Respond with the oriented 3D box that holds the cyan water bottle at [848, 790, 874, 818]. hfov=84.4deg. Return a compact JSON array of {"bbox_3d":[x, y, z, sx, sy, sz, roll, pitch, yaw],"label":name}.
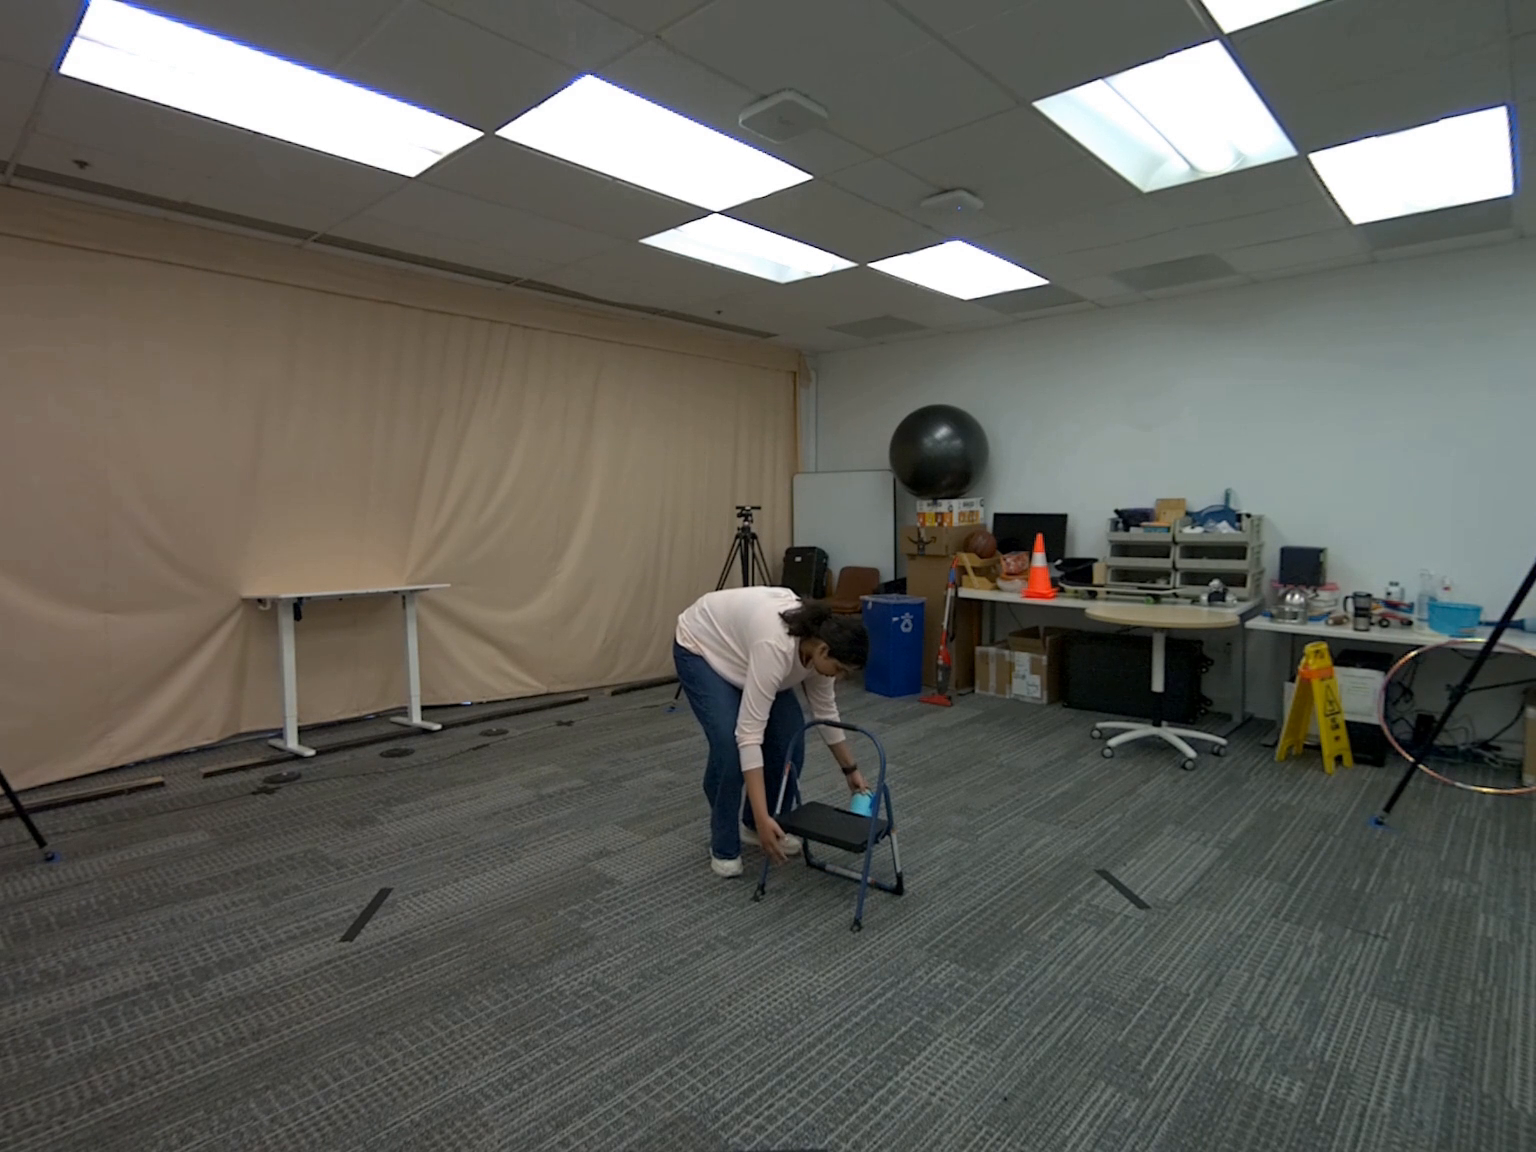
[{"bbox_3d":[0.351,0.916,3.225,0.094,0.090,0.284,1,38,21],"label":"cyan water bottle"}]
